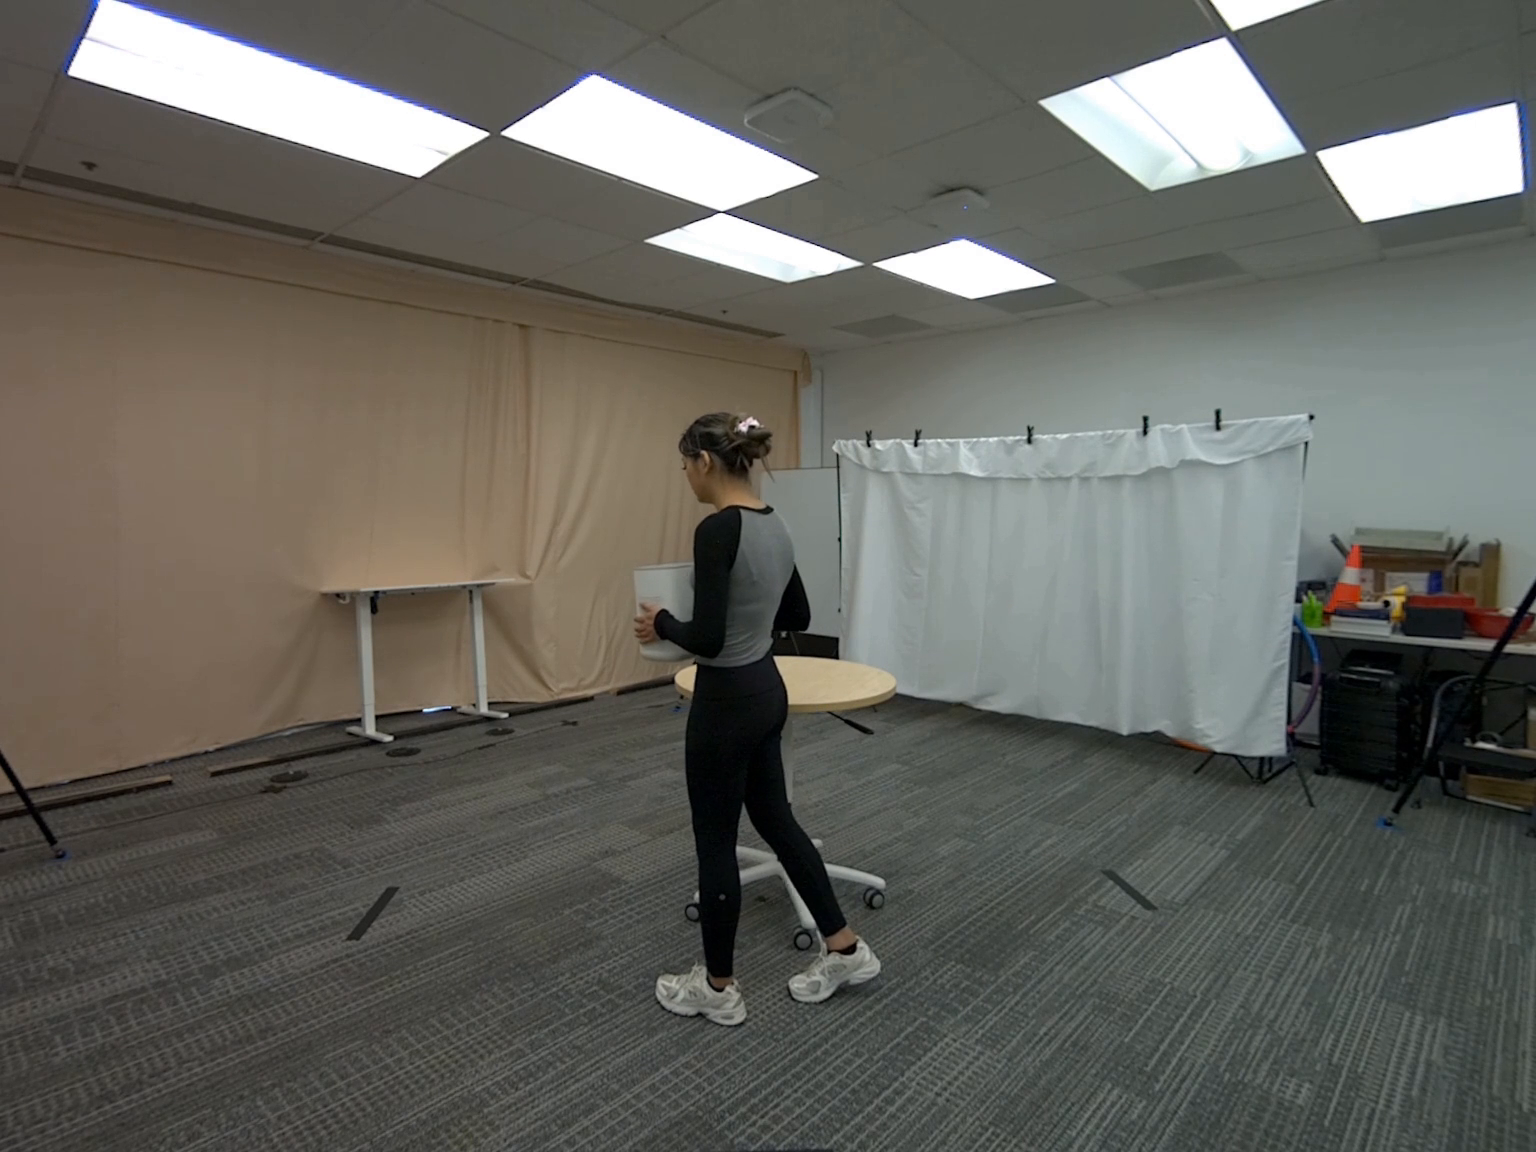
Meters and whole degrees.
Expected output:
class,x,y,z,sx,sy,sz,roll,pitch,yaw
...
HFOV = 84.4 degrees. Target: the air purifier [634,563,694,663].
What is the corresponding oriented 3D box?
class,x,y,z,sx,sy,sz,roll,pitch,yaw
air purifier,-0.279,0.102,2.403,0.177,0.265,0.166,-2,4,37
